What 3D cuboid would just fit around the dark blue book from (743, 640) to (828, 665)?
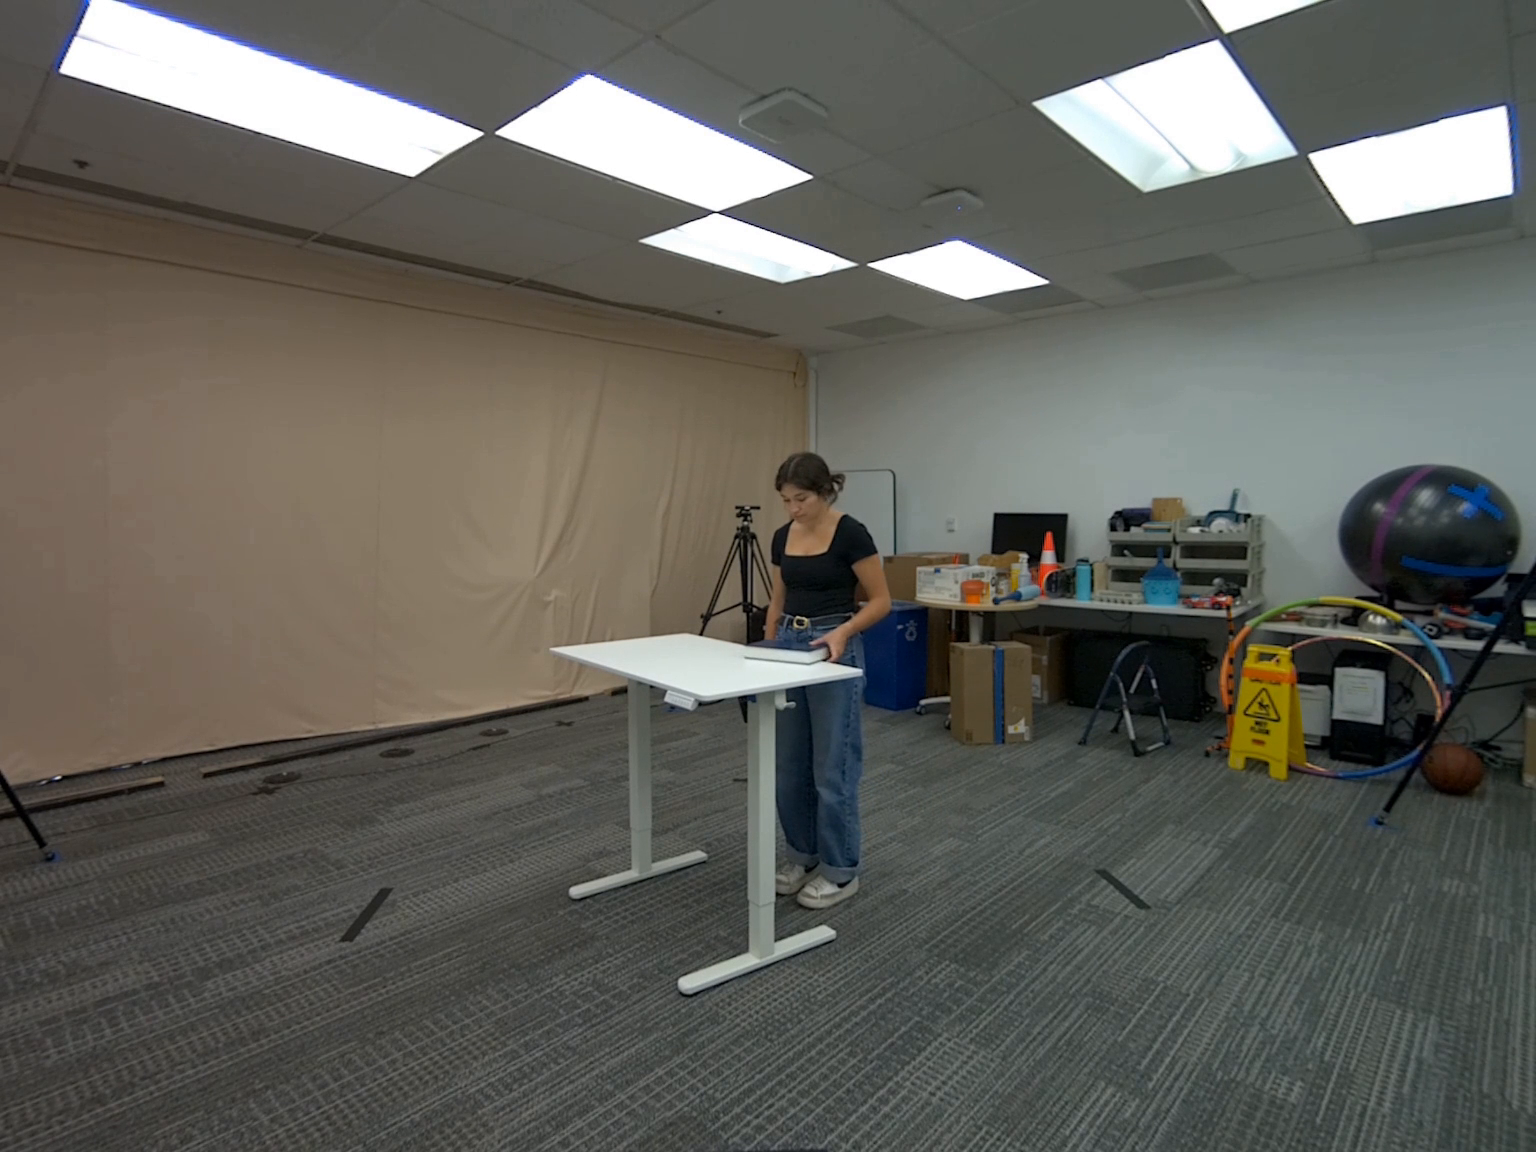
[{"bbox_3d":[0.059,0.261,2.821,0.252,0.045,0.159,1,2,31],"label":"dark blue book"}]
